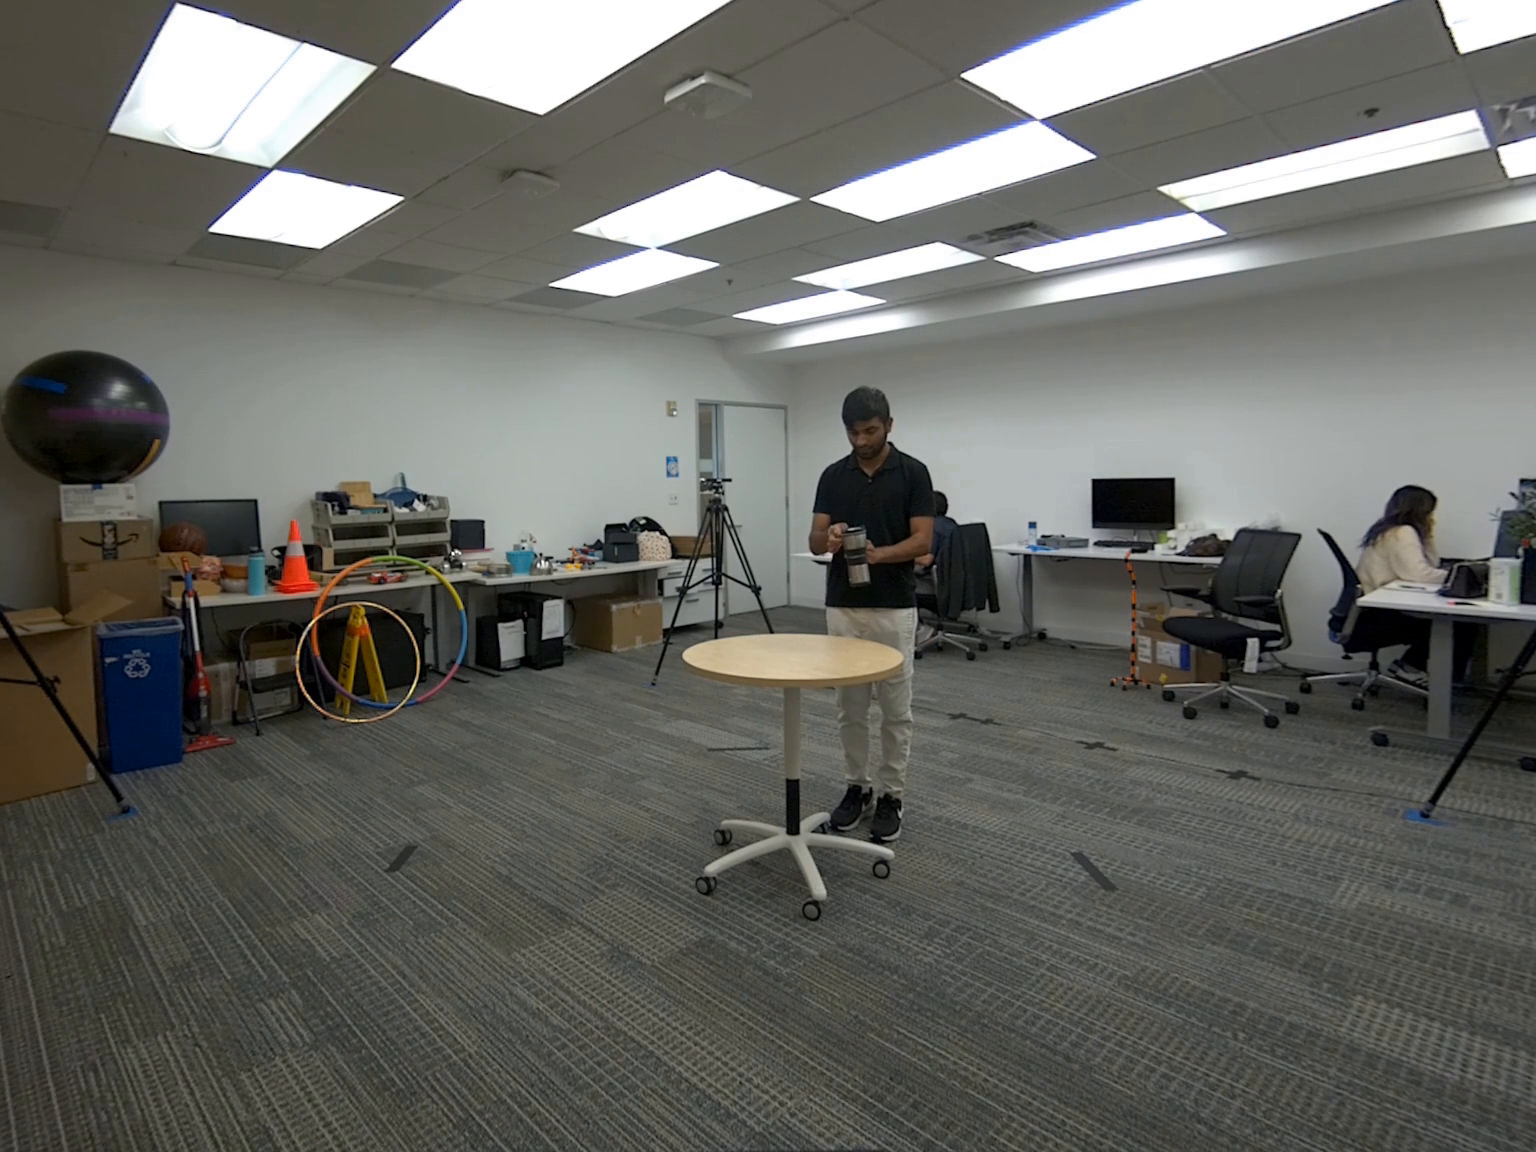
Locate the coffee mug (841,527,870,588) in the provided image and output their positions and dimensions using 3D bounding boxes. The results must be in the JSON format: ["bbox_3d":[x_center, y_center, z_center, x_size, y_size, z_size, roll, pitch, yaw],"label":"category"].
[{"bbox_3d":[0.329,-0.068,3.023,0.090,0.202,0.119,-10,4,45],"label":"coffee mug"}]
